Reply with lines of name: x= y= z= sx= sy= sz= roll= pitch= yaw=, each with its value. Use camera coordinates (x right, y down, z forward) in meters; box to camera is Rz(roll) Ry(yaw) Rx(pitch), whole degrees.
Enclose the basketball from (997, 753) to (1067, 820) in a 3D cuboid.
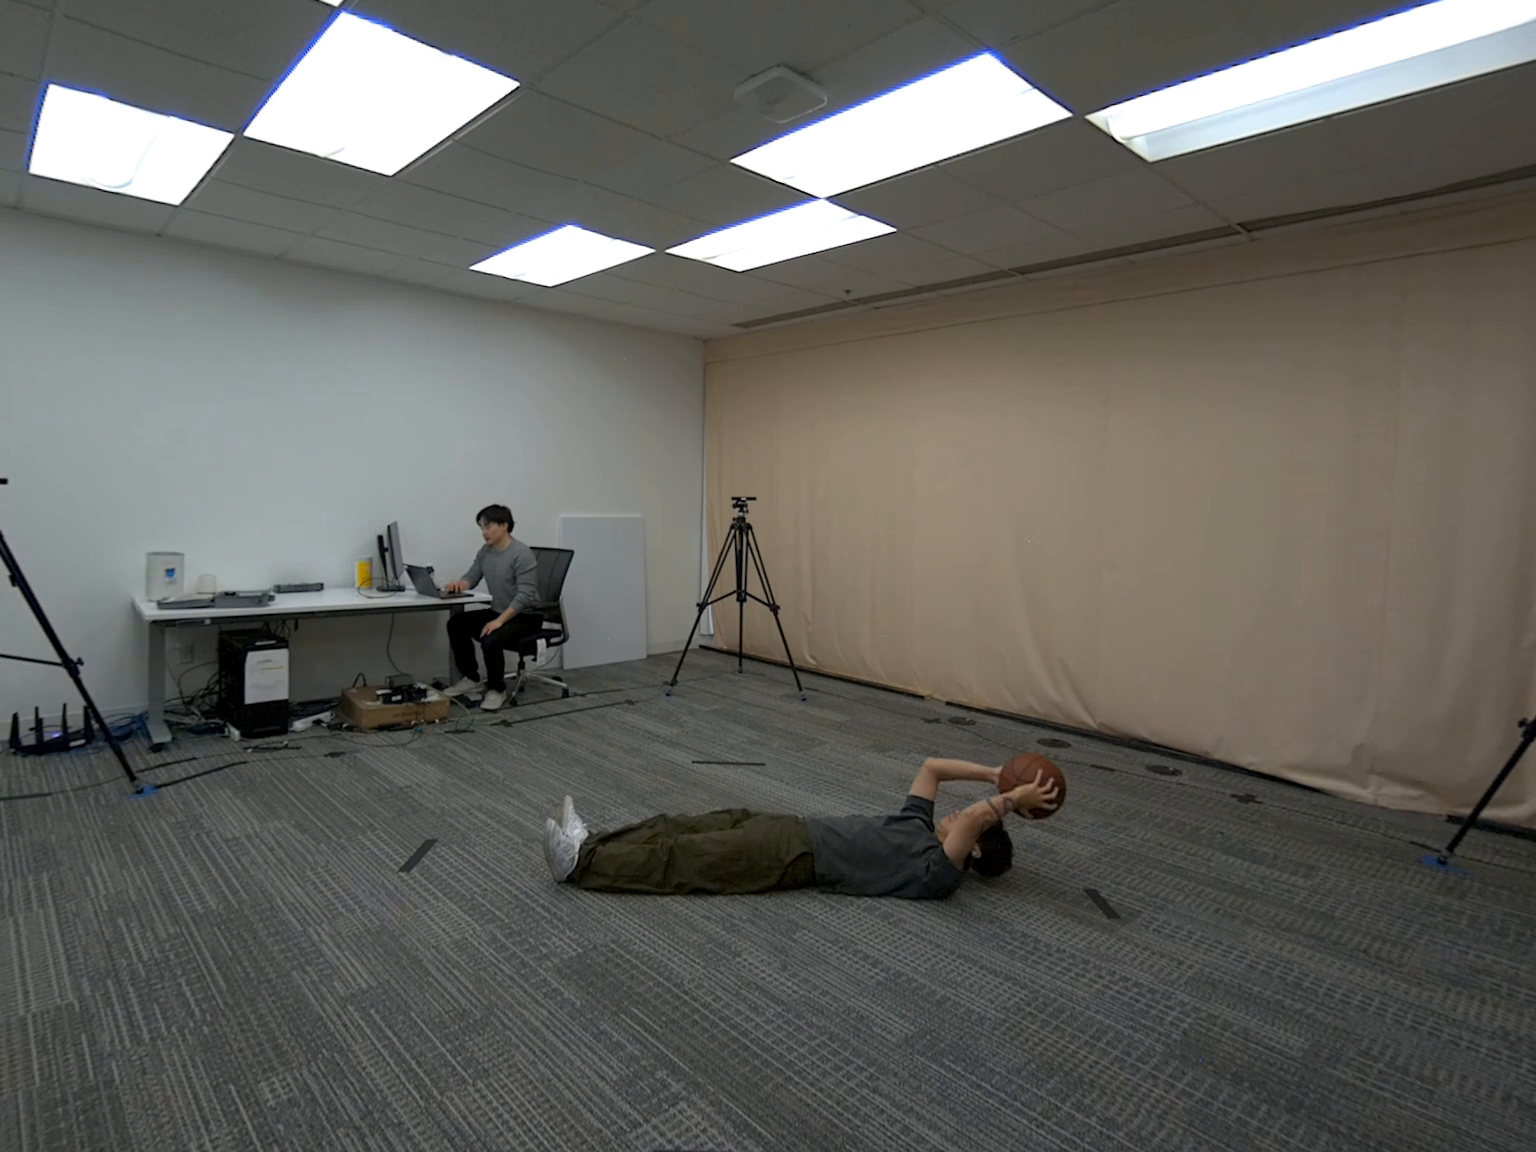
basketball: x=0.961 y=0.776 z=3.117 sx=0.236 sy=0.235 sz=0.237 roll=1 pitch=4 yaw=-1
